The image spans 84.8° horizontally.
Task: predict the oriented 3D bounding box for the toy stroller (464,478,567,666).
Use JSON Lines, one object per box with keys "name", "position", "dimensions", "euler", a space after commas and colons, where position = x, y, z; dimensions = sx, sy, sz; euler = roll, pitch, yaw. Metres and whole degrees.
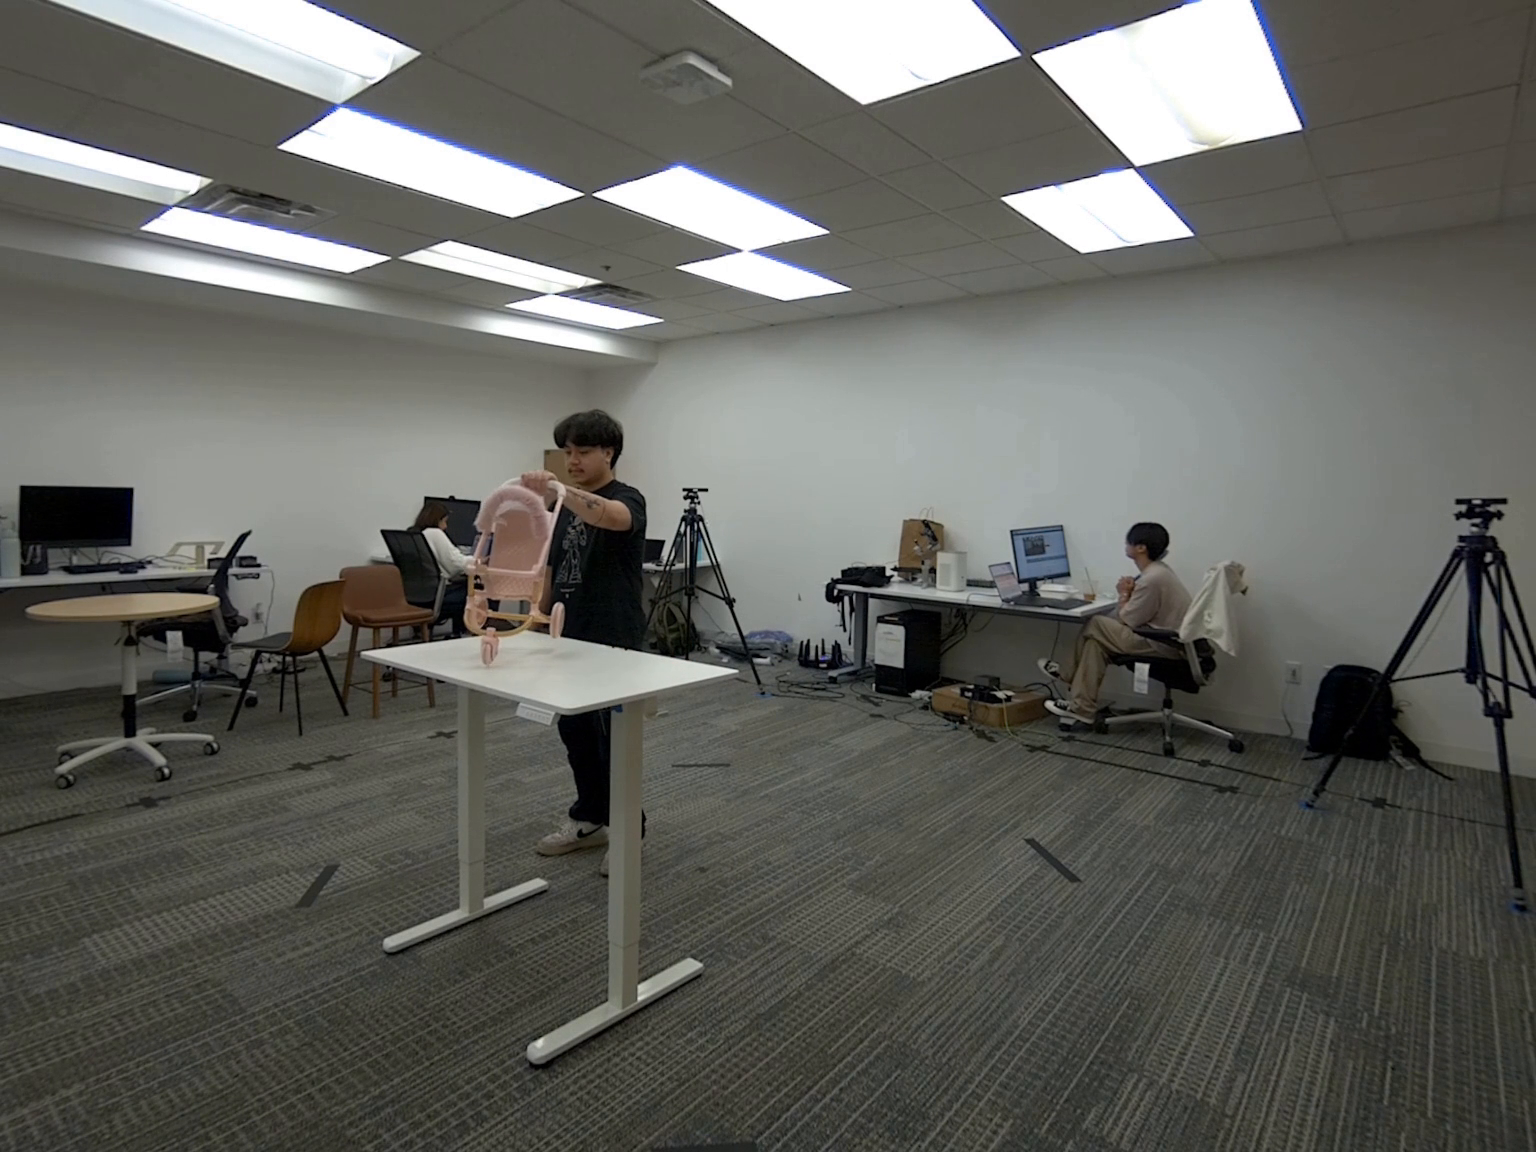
{"name": "toy stroller", "position": [-0.771, -0.031, 2.492], "dimensions": [0.284, 0.534, 0.338], "euler": [5, 1, 7]}
